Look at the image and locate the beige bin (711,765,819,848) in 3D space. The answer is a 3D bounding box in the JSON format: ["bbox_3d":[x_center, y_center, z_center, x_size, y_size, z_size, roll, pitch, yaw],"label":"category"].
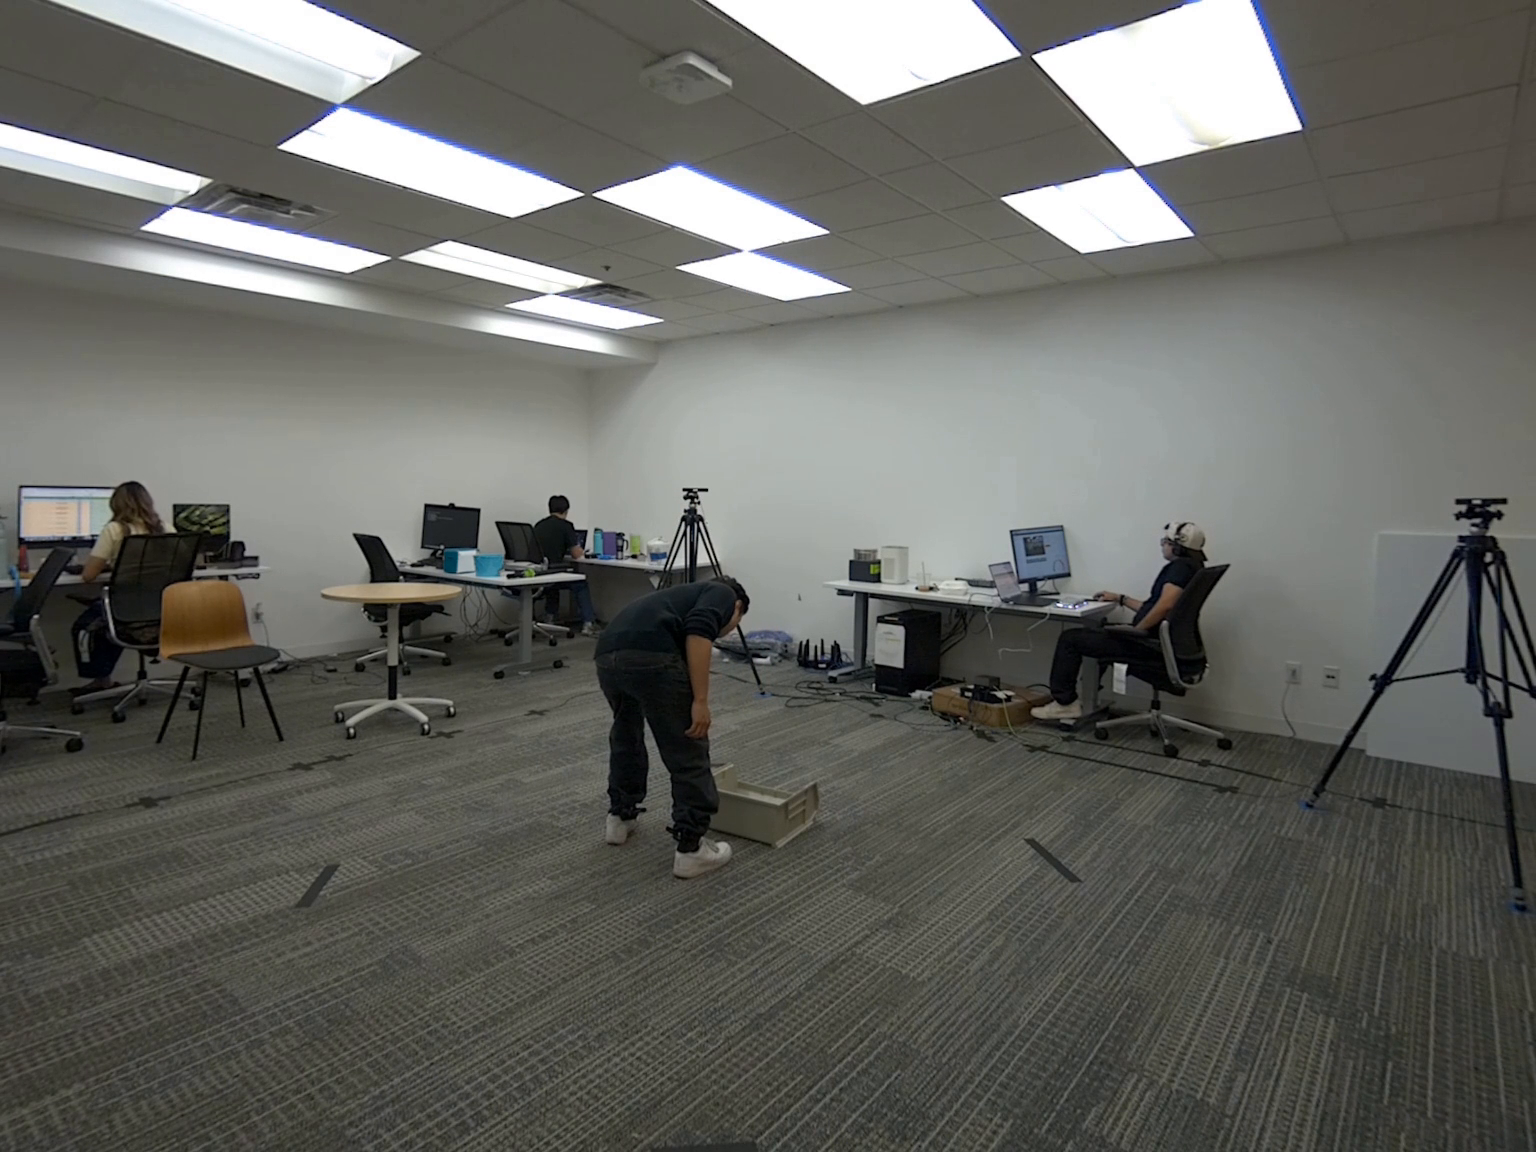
[{"bbox_3d":[-0.058,0.942,3.555,0.435,0.188,0.368,4,7,30],"label":"beige bin"}]
